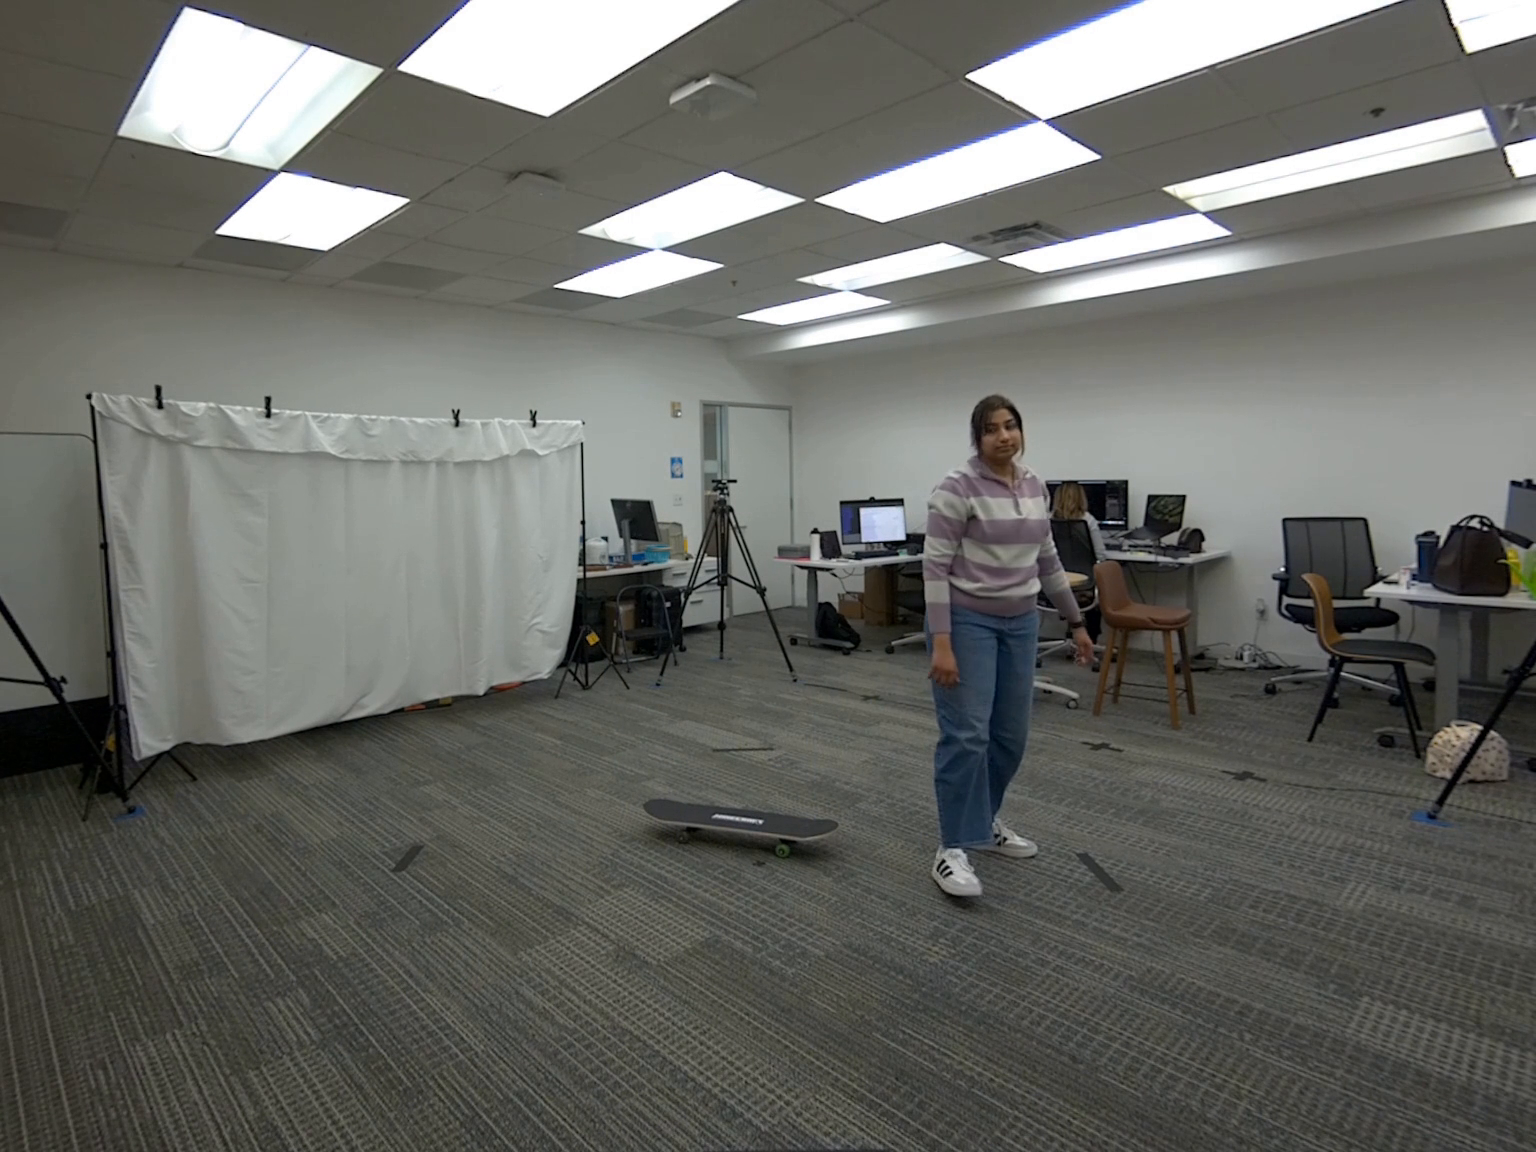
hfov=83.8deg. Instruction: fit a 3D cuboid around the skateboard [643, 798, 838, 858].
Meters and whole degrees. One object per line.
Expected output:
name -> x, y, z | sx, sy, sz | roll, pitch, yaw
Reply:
skateboard -> -0.112, 0.970, 3.299 | 0.800, 0.110, 0.191 | 1, 6, 19
